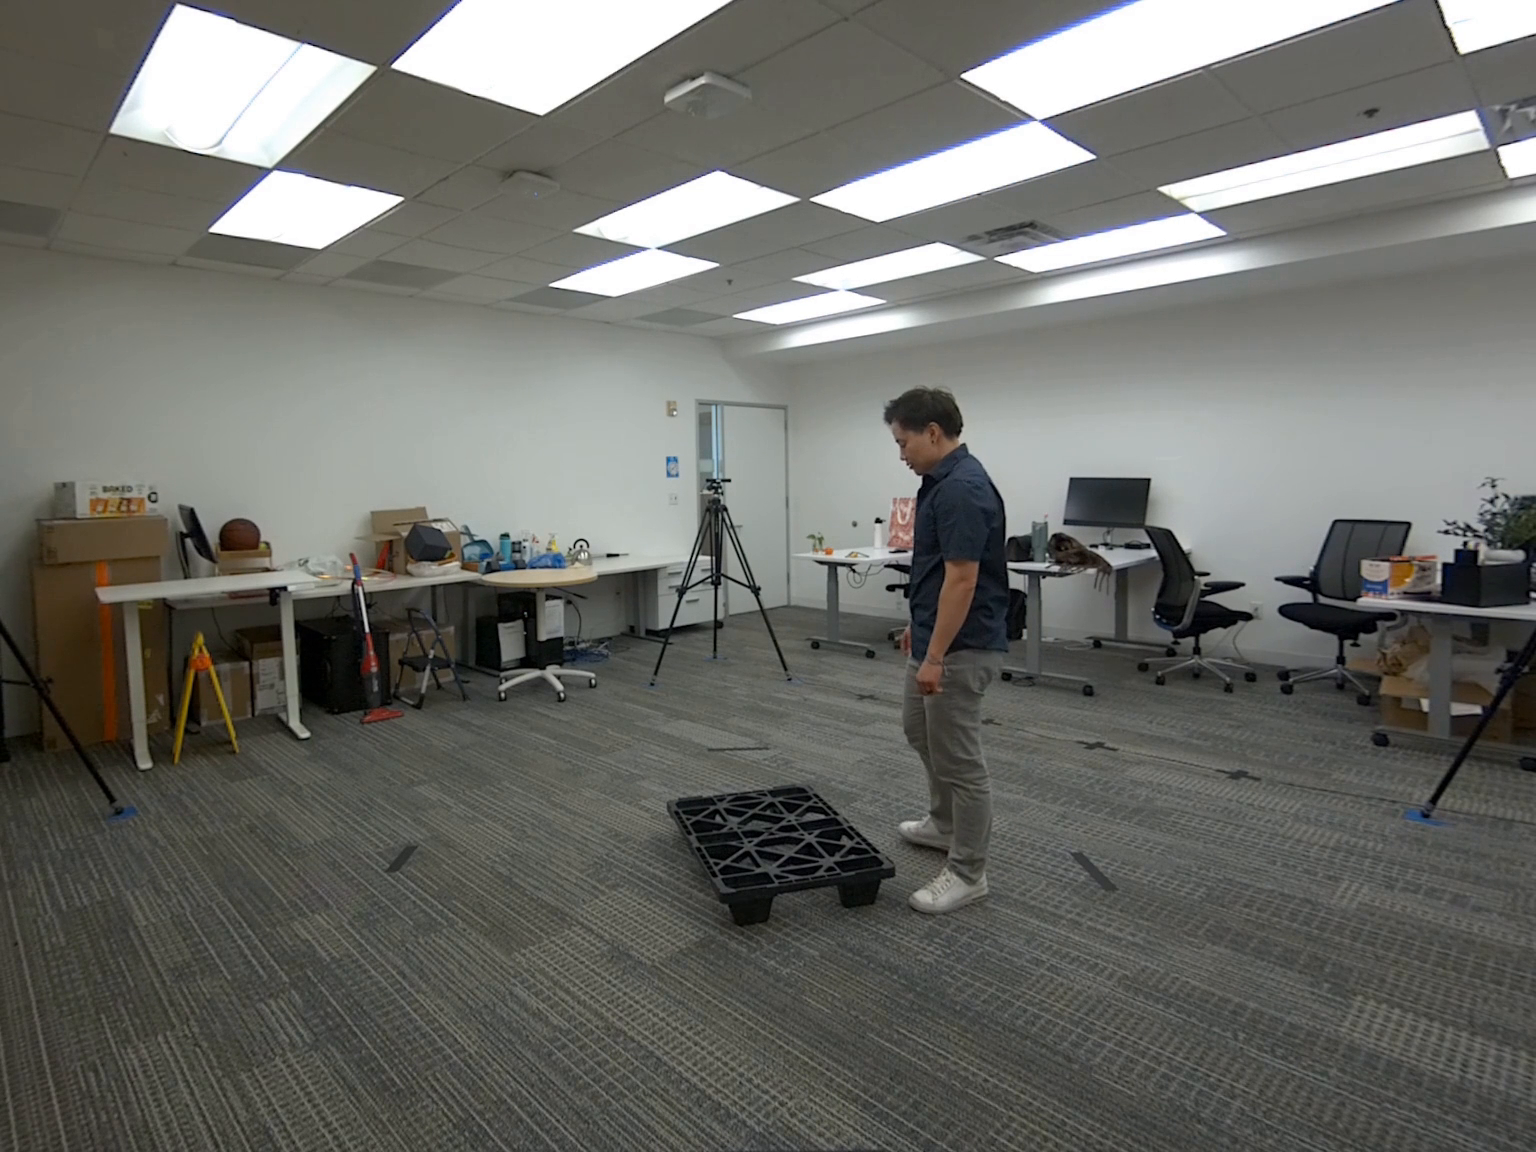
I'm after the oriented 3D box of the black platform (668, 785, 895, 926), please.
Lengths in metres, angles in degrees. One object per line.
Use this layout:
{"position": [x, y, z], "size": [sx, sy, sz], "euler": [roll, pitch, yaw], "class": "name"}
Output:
{"position": [0.009, 0.978, 3.074], "size": [0.596, 0.143, 0.821], "euler": [-4, 6, -18], "class": "black platform"}
